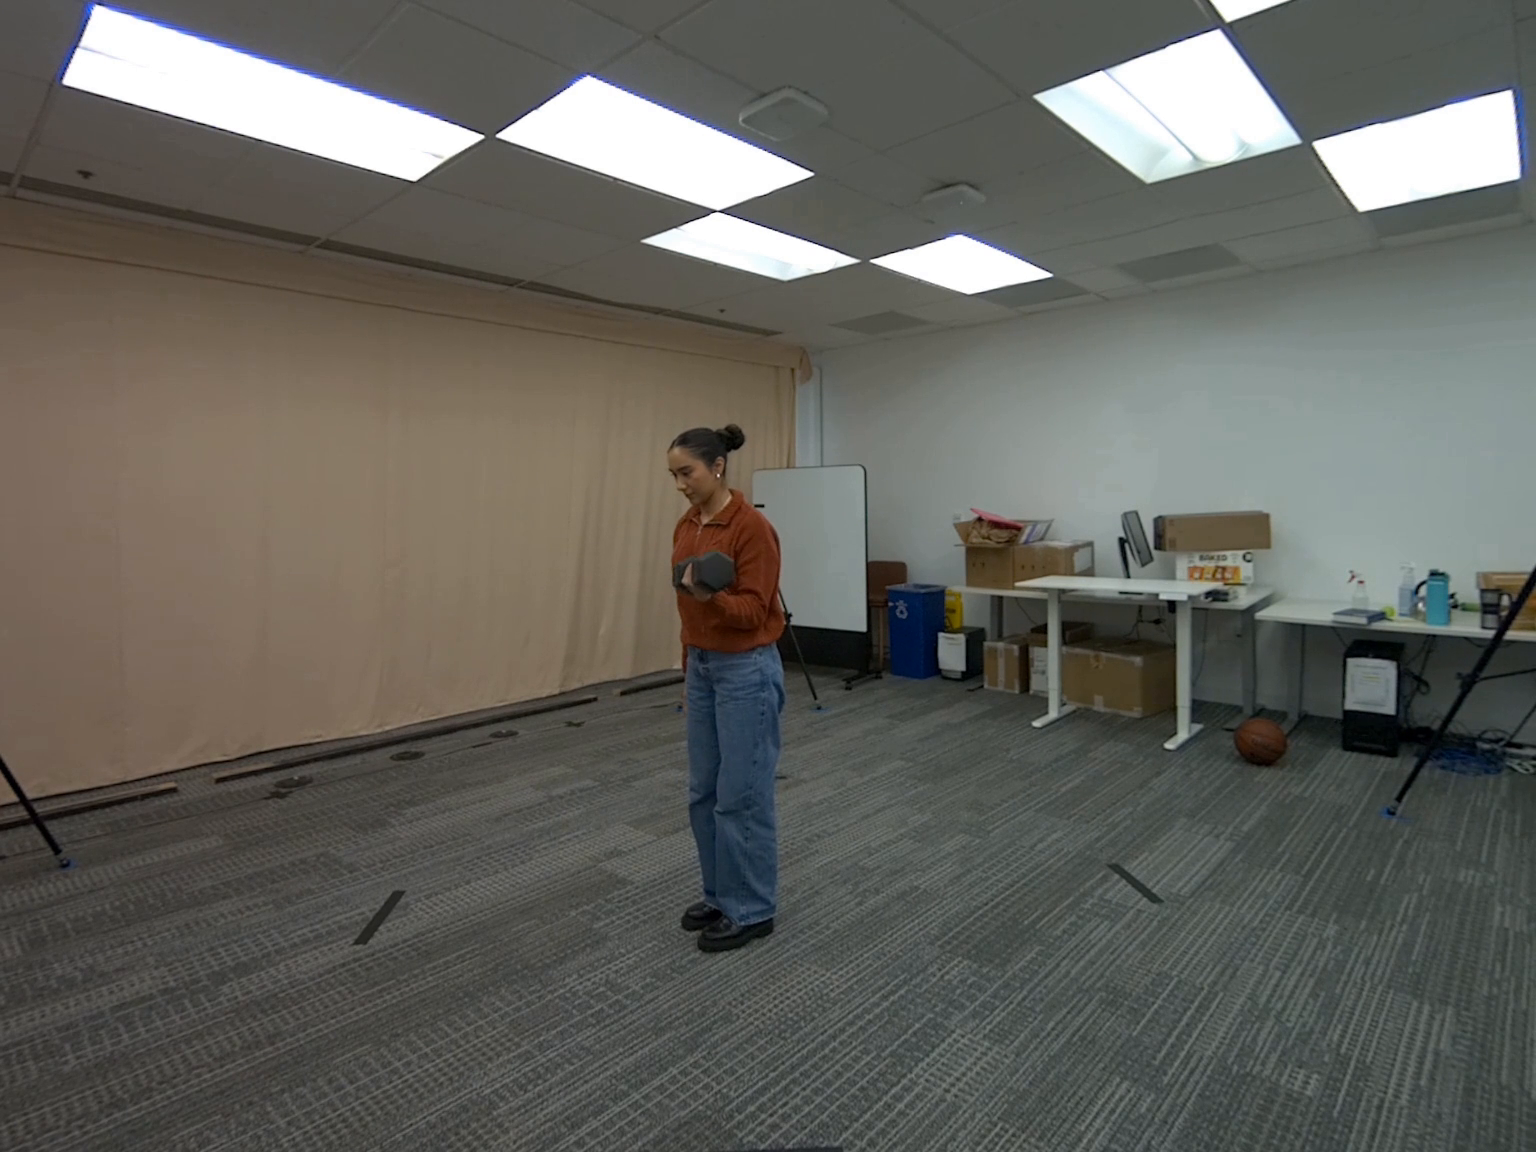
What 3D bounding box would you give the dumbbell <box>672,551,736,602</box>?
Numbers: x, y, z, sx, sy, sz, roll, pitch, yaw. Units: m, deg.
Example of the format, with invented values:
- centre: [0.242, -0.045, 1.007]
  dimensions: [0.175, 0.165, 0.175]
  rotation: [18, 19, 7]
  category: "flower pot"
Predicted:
- centre: [-0.189, -0.001, 2.419]
  dimensions: [0.121, 0.109, 0.298]
  rotation: [34, -14, -14]
  category: "dumbbell"
